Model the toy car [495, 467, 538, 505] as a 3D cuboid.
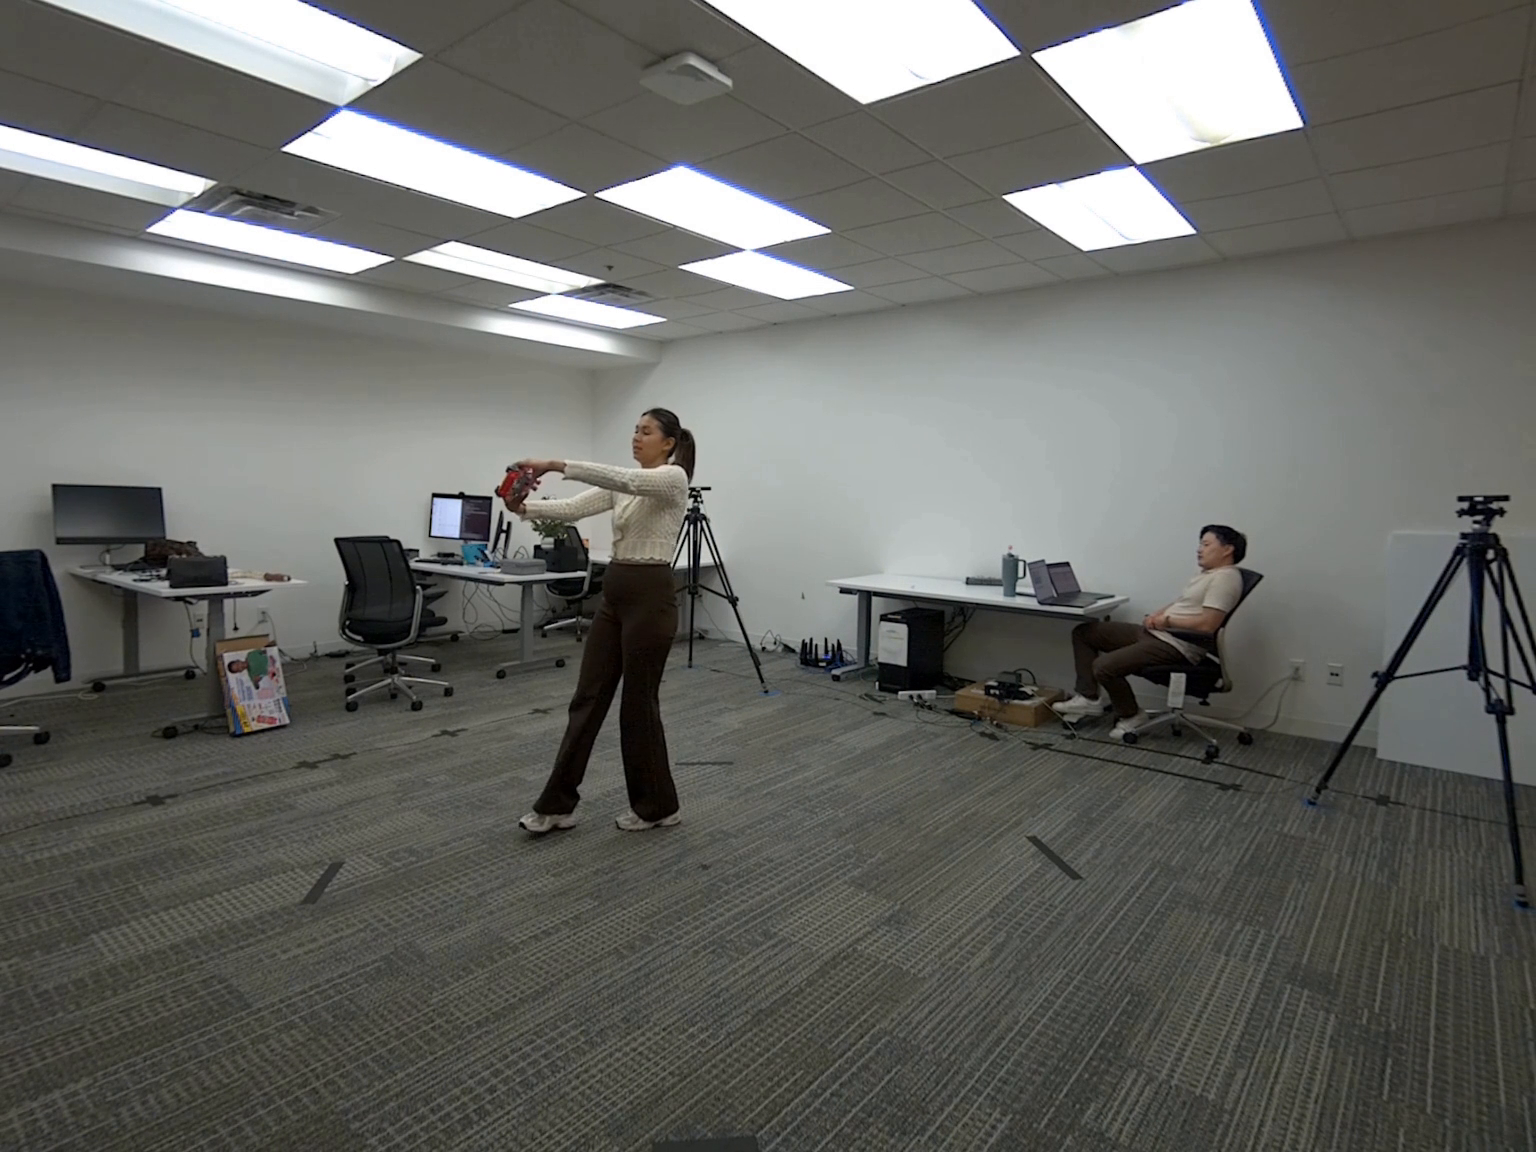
[{"bbox_3d":[-0.932,-0.351,3.128,0.085,0.130,0.251,36,14,11],"label":"toy car"}]
